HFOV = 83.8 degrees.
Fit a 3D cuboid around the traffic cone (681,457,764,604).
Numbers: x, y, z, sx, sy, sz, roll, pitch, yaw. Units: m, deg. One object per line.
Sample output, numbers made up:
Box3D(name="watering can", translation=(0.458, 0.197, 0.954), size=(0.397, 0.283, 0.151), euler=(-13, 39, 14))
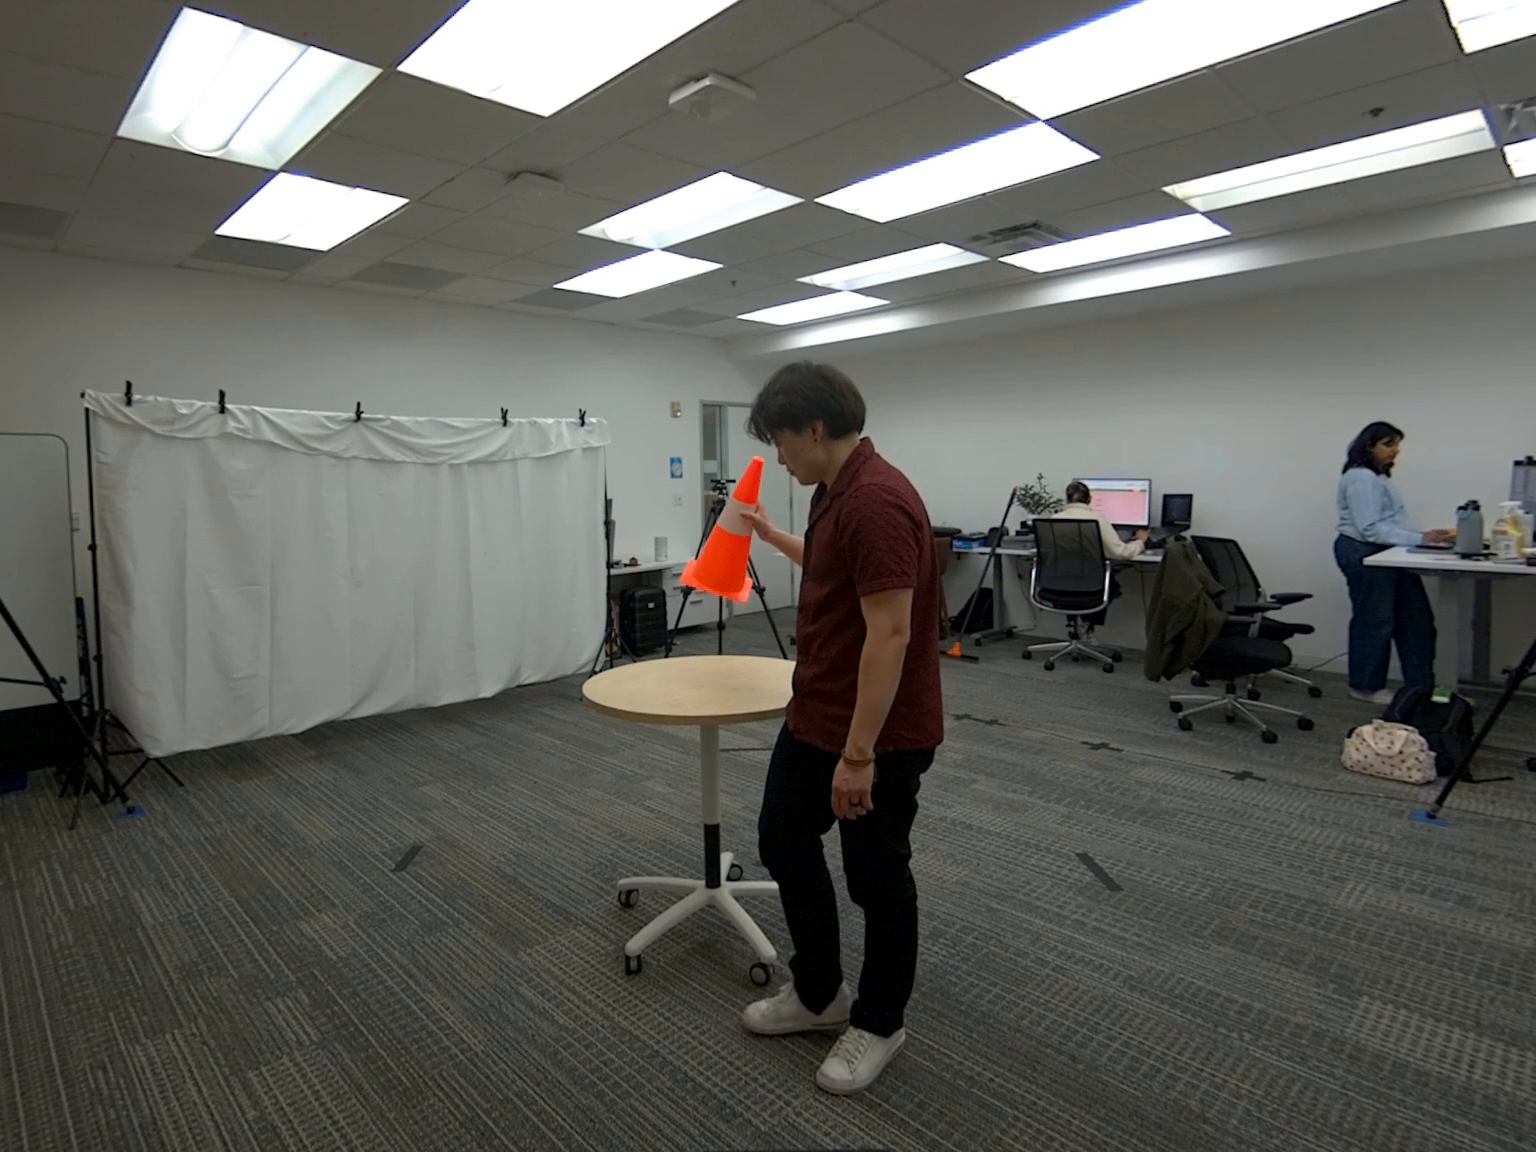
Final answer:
Box3D(name="traffic cone", translation=(-0.088, -0.150, 2.377), size=(0.209, 0.379, 0.202), euler=(25, 21, 21))
